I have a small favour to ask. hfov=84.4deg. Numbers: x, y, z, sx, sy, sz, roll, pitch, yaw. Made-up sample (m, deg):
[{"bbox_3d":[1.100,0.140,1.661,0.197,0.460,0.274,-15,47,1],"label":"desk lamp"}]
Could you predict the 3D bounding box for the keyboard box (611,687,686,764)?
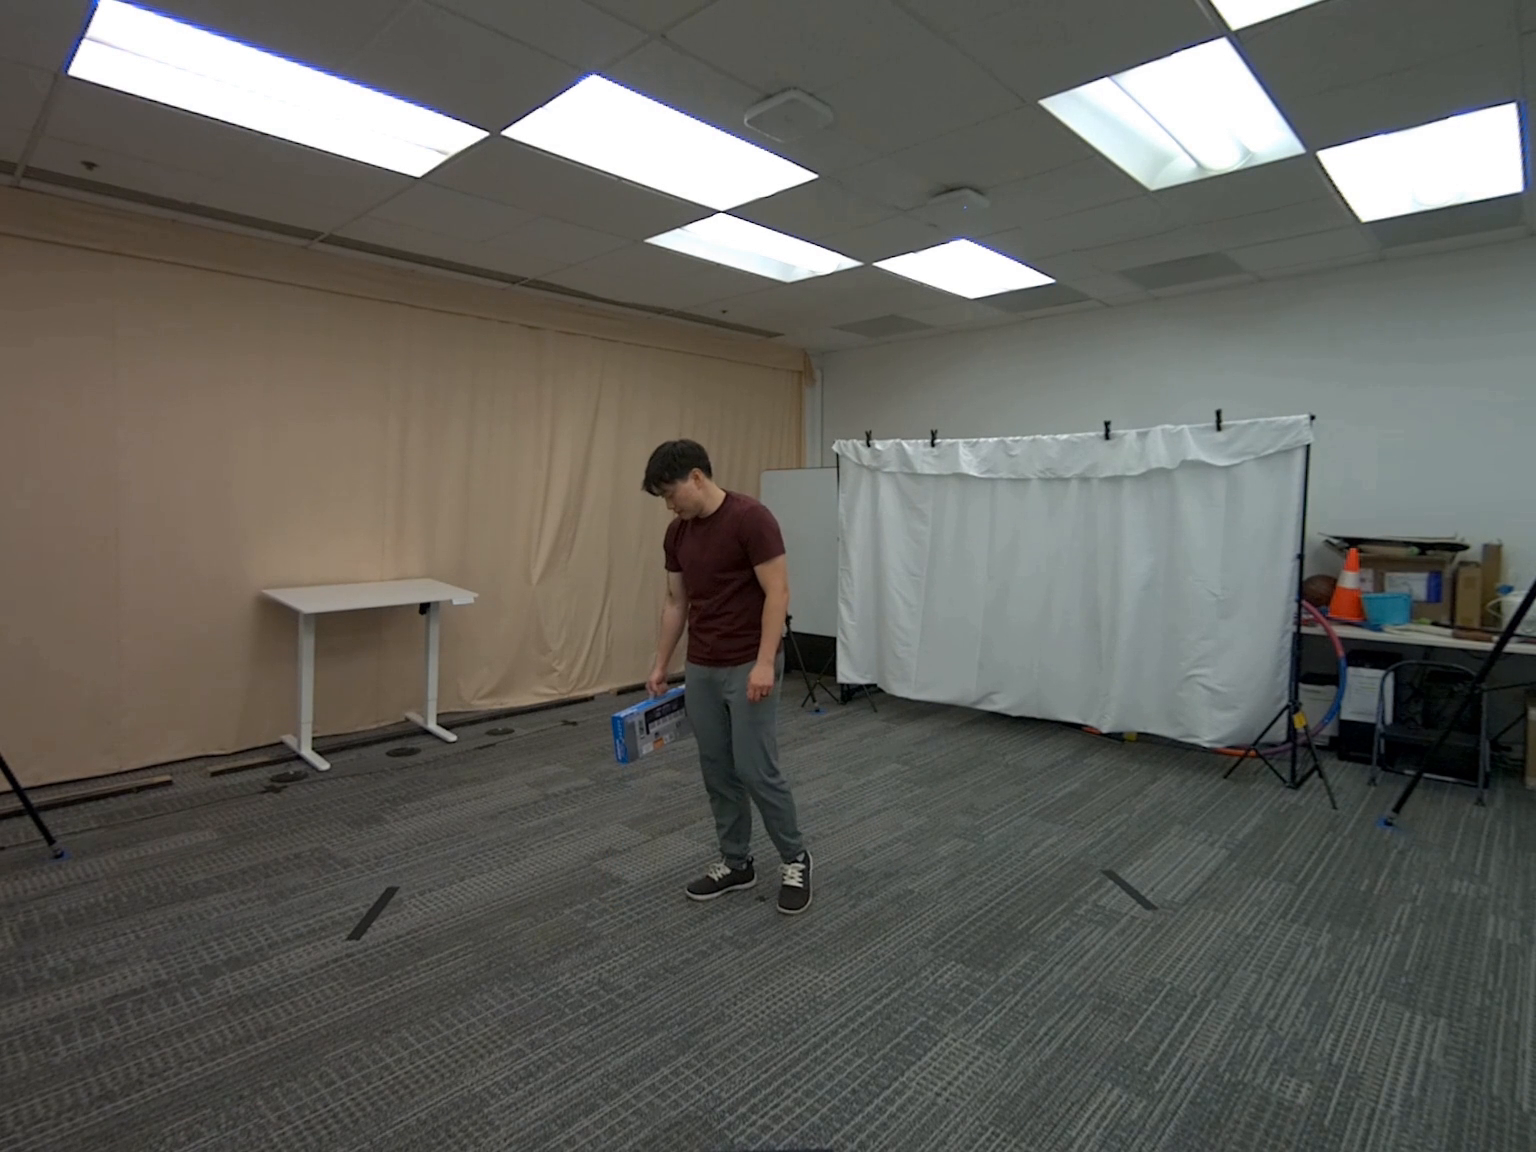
[{"bbox_3d":[-0.388,0.533,3.106,0.061,0.175,0.426,0,11,39],"label":"keyboard box"}]
